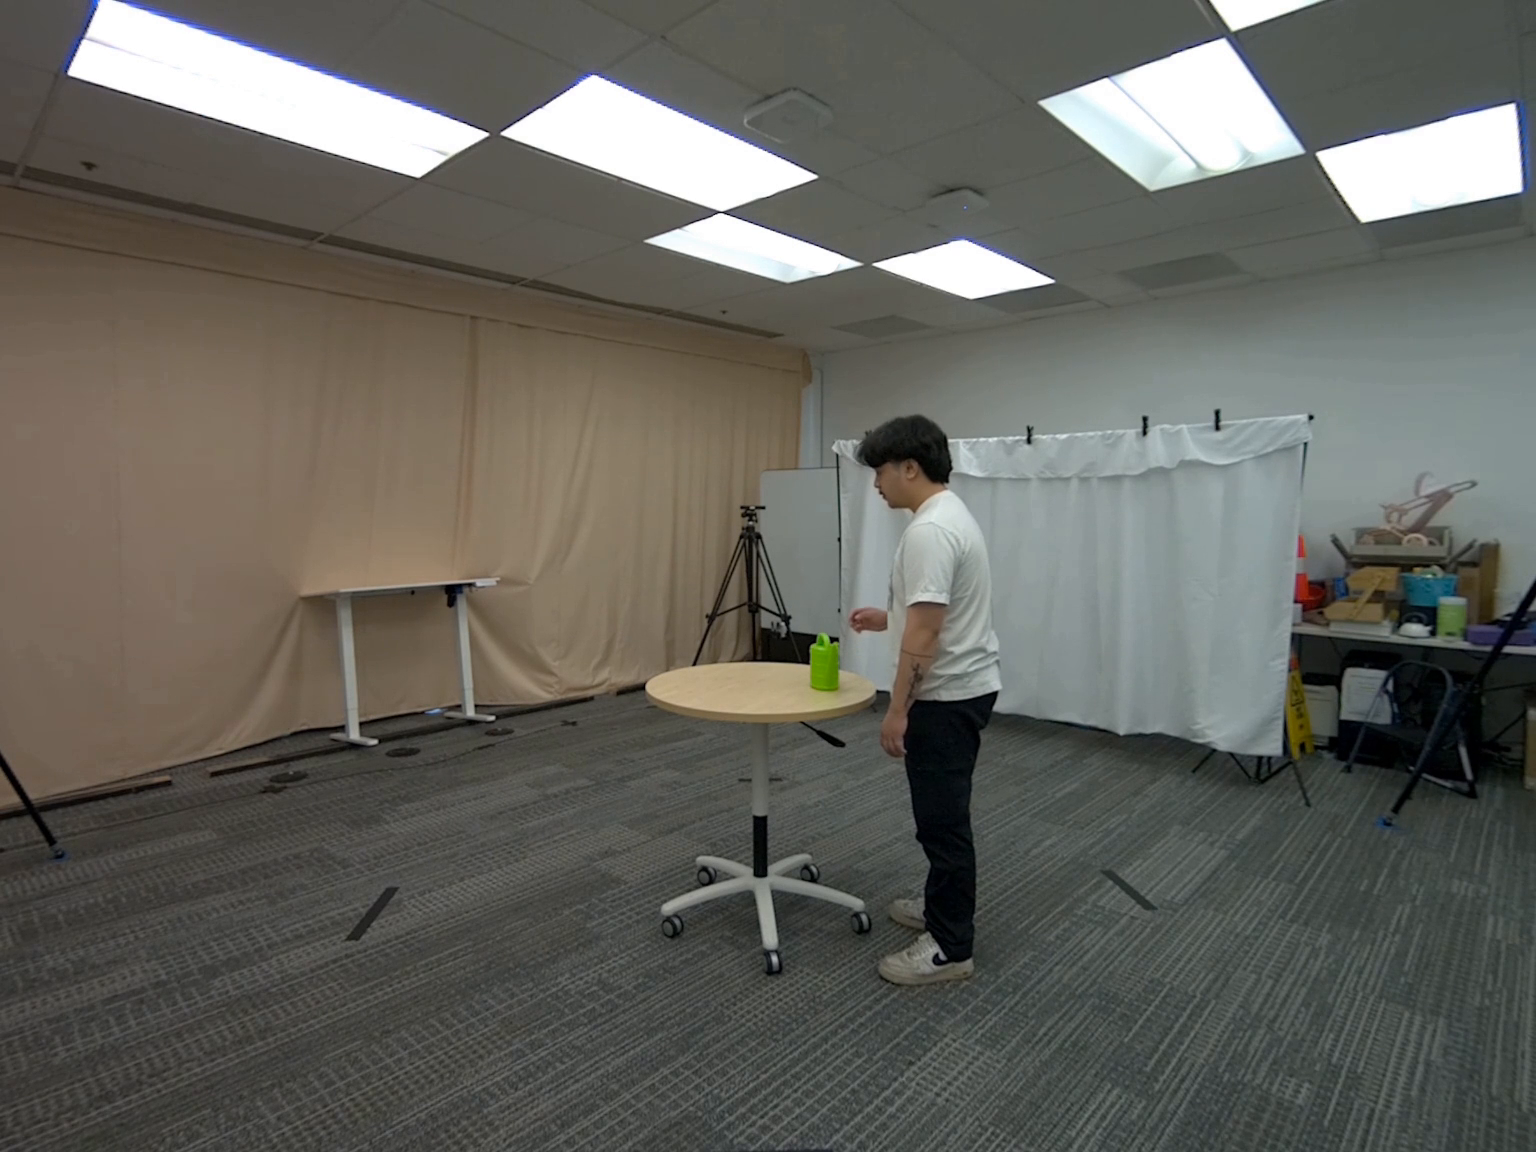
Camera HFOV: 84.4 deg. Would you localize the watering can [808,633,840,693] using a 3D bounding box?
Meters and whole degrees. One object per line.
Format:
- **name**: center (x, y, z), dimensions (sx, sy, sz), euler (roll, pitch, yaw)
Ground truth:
- **watering can**: center (0.187, 0.291, 2.733), dimensions (0.099, 0.176, 0.277), euler (-4, 4, 5)
